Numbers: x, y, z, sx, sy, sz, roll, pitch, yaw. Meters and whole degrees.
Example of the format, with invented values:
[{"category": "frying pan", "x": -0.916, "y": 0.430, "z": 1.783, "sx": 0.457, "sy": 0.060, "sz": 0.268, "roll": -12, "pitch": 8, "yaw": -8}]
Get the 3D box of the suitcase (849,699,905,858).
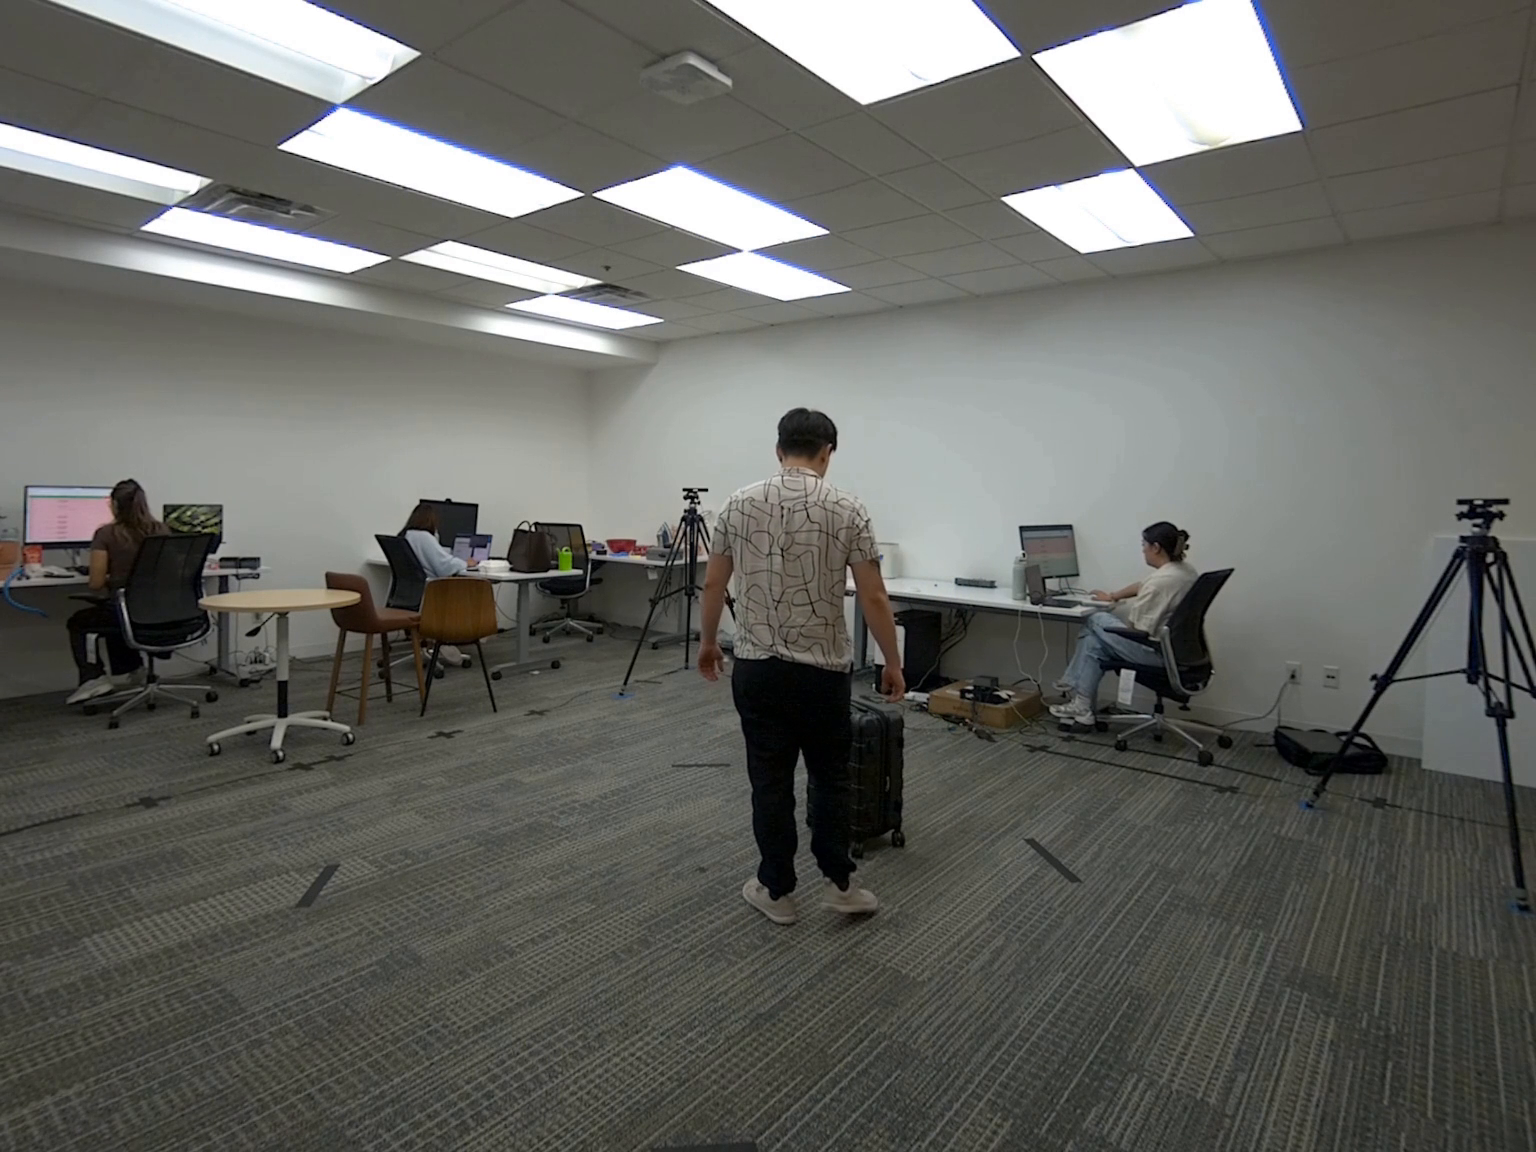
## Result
[{"category": "suitcase", "x": 0.346, "y": 0.771, "z": 3.437, "sx": 0.241, "sy": 0.548, "sz": 0.387, "roll": 0, "pitch": 3, "yaw": -33}]
